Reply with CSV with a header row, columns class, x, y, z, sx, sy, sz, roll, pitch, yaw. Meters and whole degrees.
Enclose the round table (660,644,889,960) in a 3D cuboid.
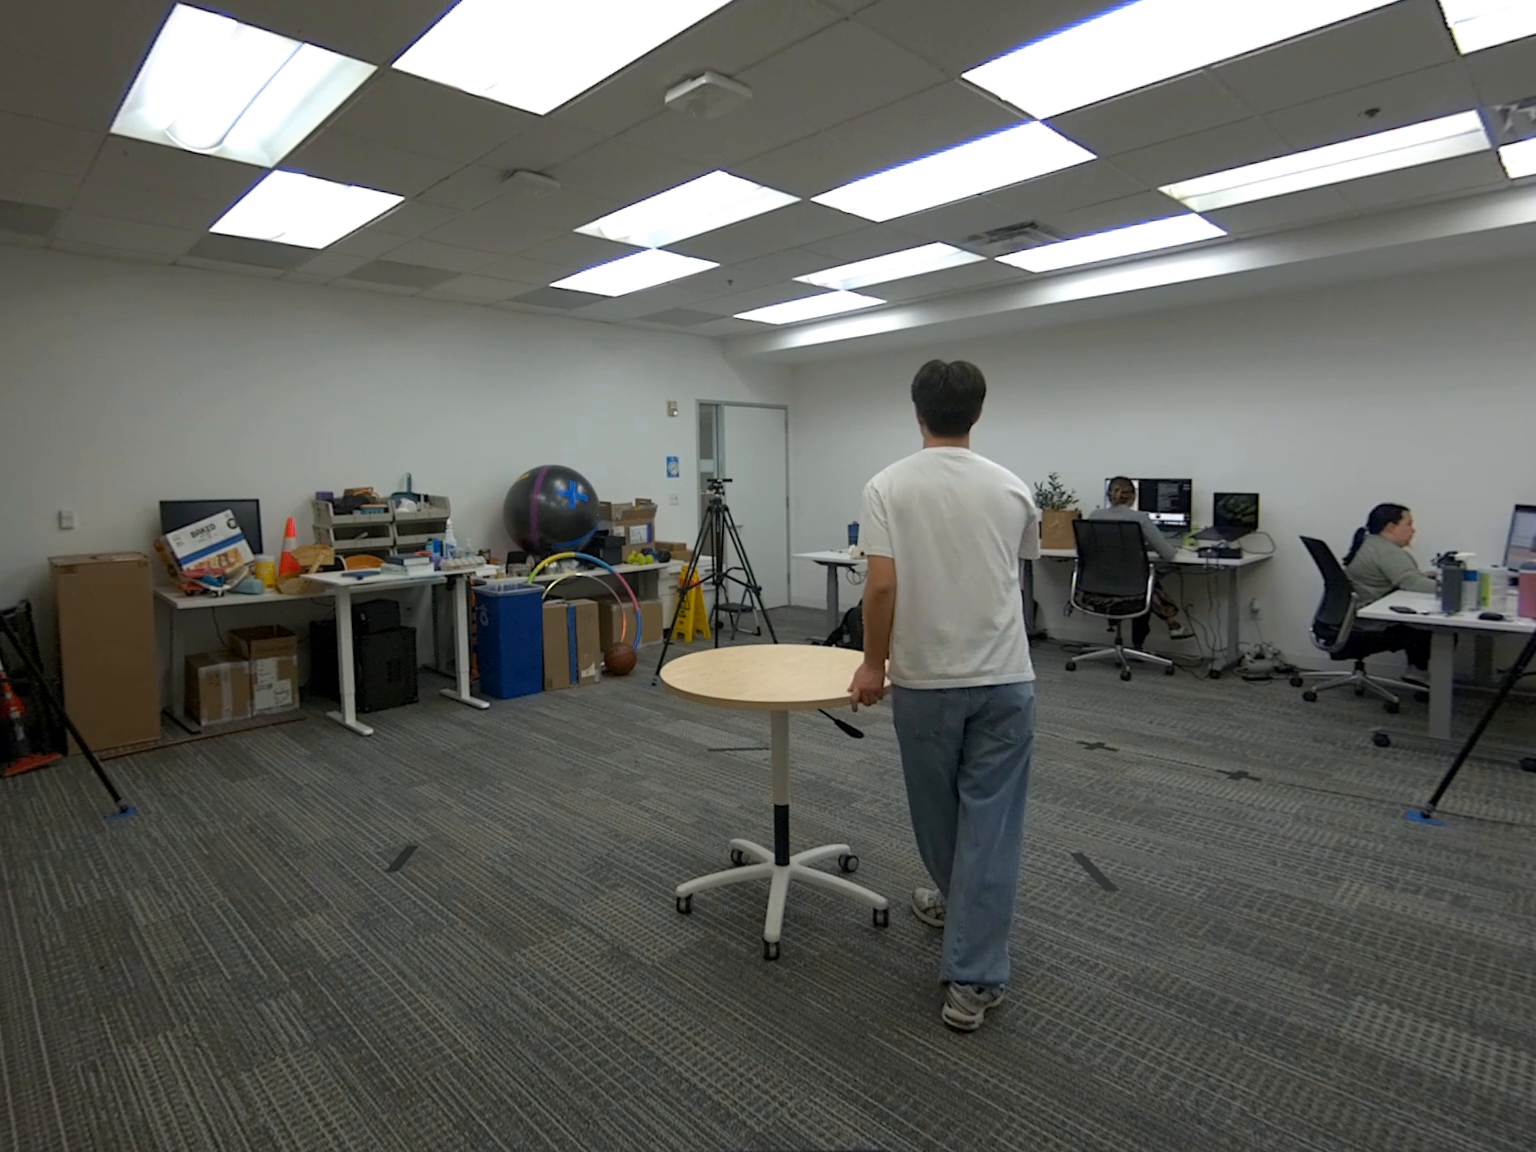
class,x,y,z,sx,sy,sz,roll,pitch,yaw
round table,0.042,0.692,2.779,0.763,0.790,0.768,-1,6,-2
